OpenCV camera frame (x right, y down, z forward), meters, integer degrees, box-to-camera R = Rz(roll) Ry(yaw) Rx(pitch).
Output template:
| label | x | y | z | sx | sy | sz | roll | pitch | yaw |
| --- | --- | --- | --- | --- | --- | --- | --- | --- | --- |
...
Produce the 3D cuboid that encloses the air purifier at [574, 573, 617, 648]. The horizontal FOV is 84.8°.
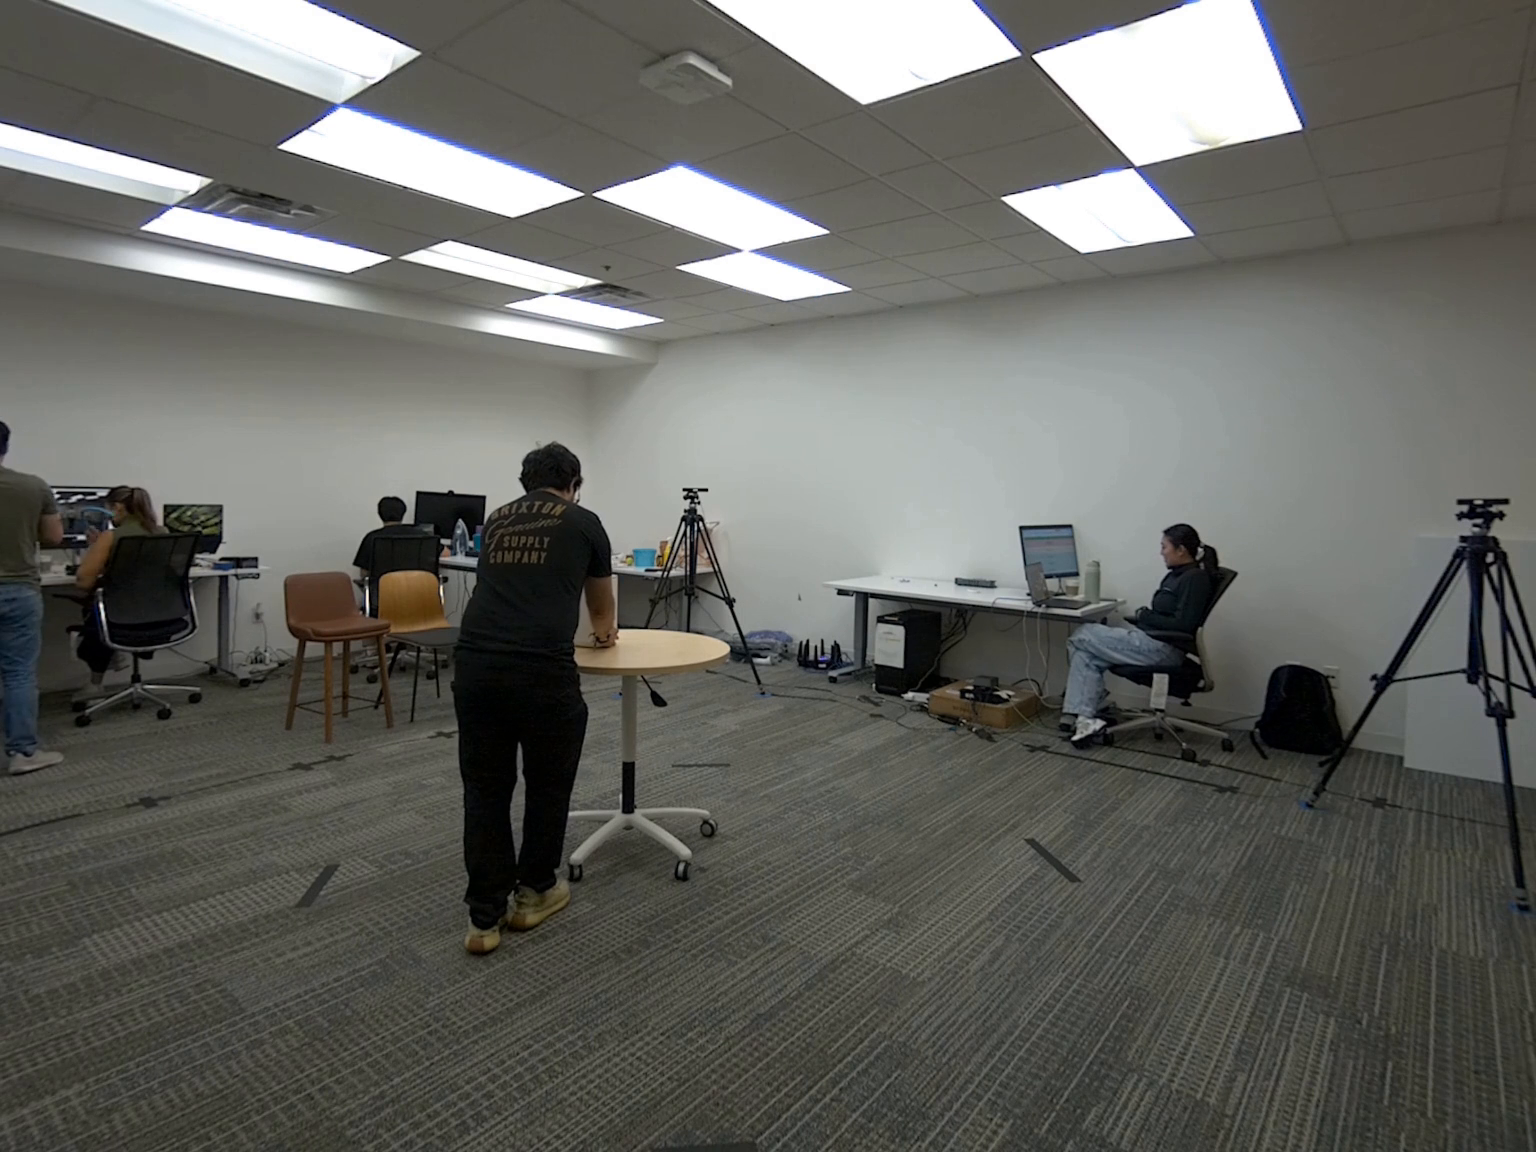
| label | x | y | z | sx | sy | sz | roll | pitch | yaw |
| --- | --- | --- | --- | --- | --- | --- | --- | --- | --- |
| air purifier | -0.685 | 0.126 | 3.271 | 0.175 | 0.265 | 0.168 | 2 | 3 | 20 |
